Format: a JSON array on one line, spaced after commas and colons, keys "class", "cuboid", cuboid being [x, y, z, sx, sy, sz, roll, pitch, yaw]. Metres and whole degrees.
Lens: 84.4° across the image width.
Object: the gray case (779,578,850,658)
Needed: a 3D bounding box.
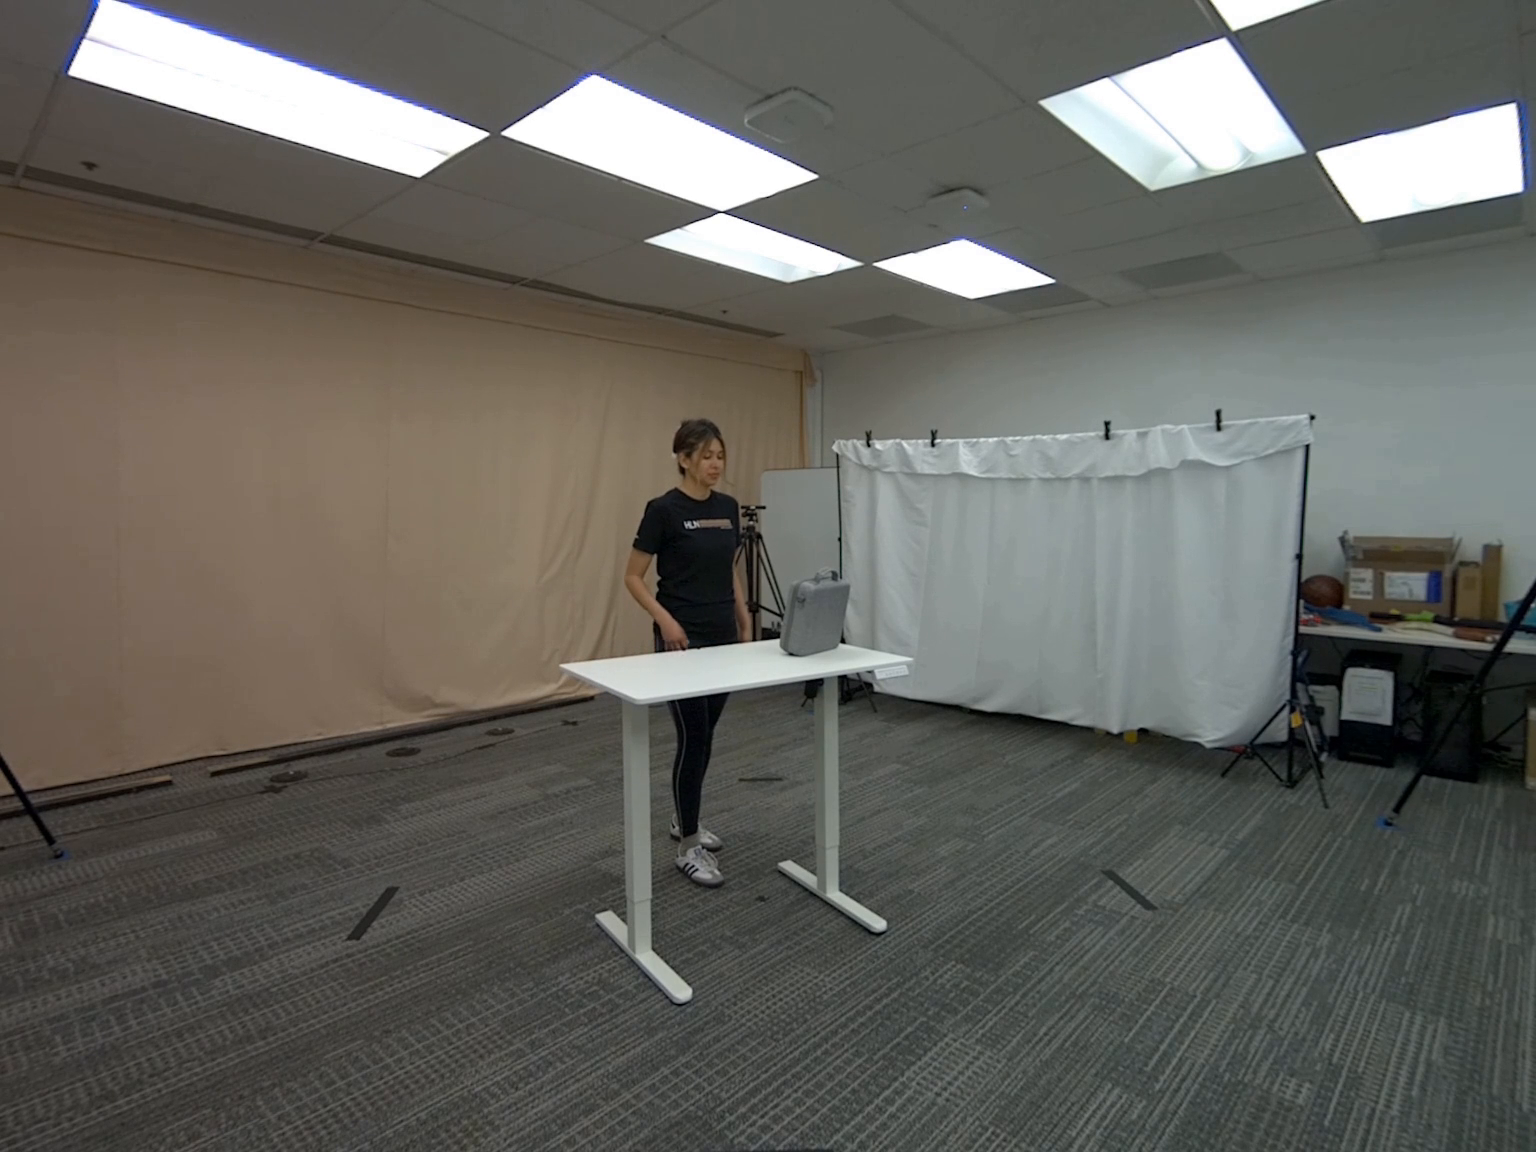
[{"class": "gray case", "cuboid": [0.170, 0.133, 2.900, 0.108, 0.259, 0.249, 19, 16, 37]}]
